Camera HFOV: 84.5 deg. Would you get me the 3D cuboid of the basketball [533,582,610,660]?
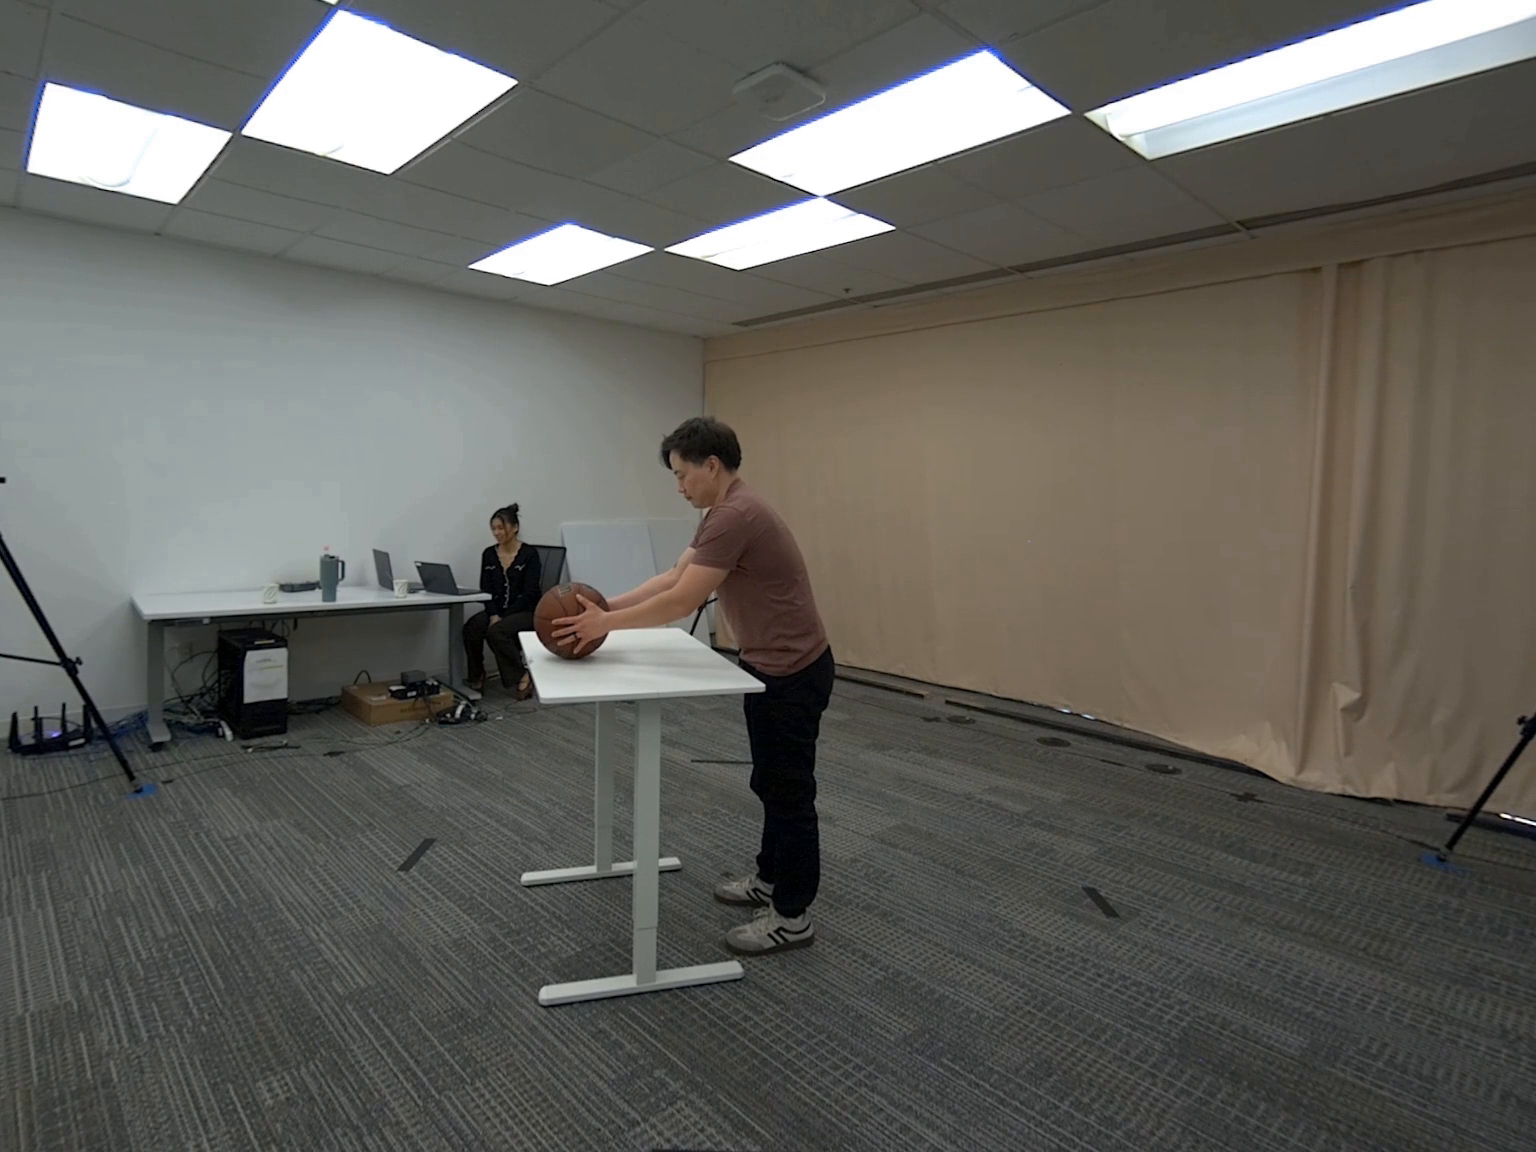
[{"bbox_3d":[-0.613,0.138,2.623,0.236,0.235,0.237,1,4,-1],"label":"basketball"}]
